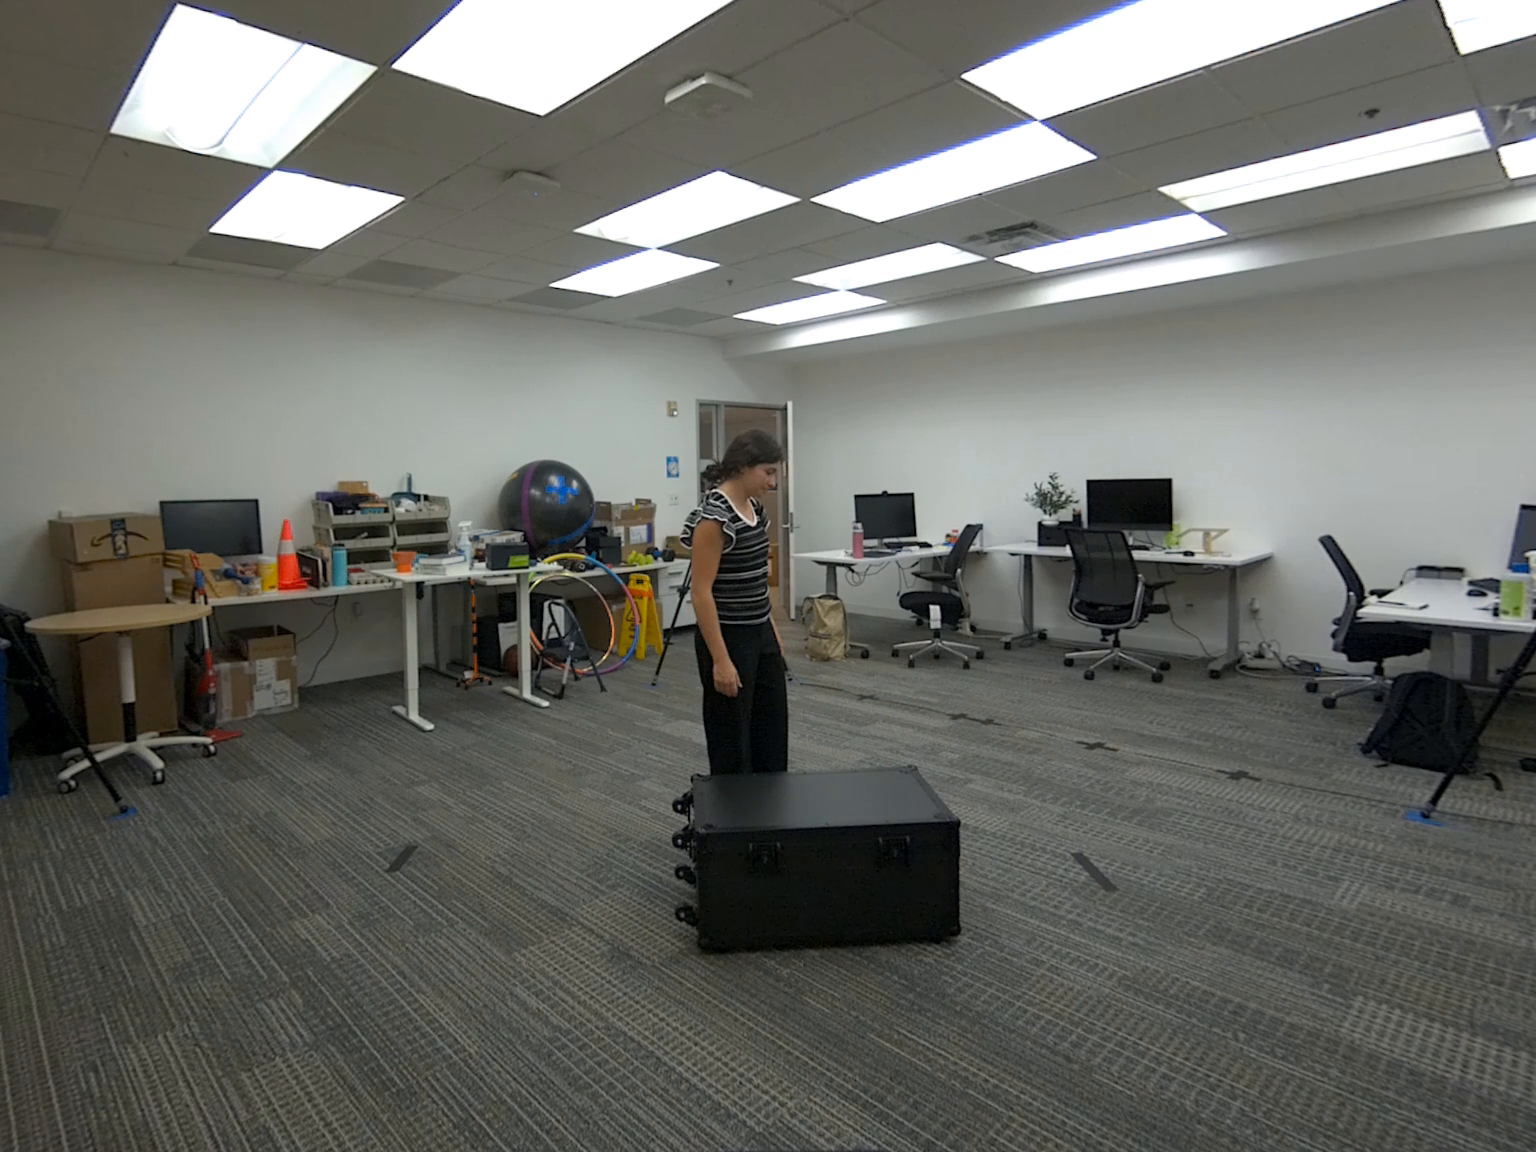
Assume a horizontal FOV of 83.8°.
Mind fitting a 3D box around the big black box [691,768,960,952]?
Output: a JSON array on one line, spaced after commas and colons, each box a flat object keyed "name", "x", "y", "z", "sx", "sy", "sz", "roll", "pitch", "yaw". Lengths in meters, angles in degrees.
[{"name": "big black box", "x": 0.126, "y": 0.891, "z": 2.749, "sx": 0.858, "sy": 0.395, "sz": 0.526, "roll": -1, "pitch": 5, "yaw": -5}]
